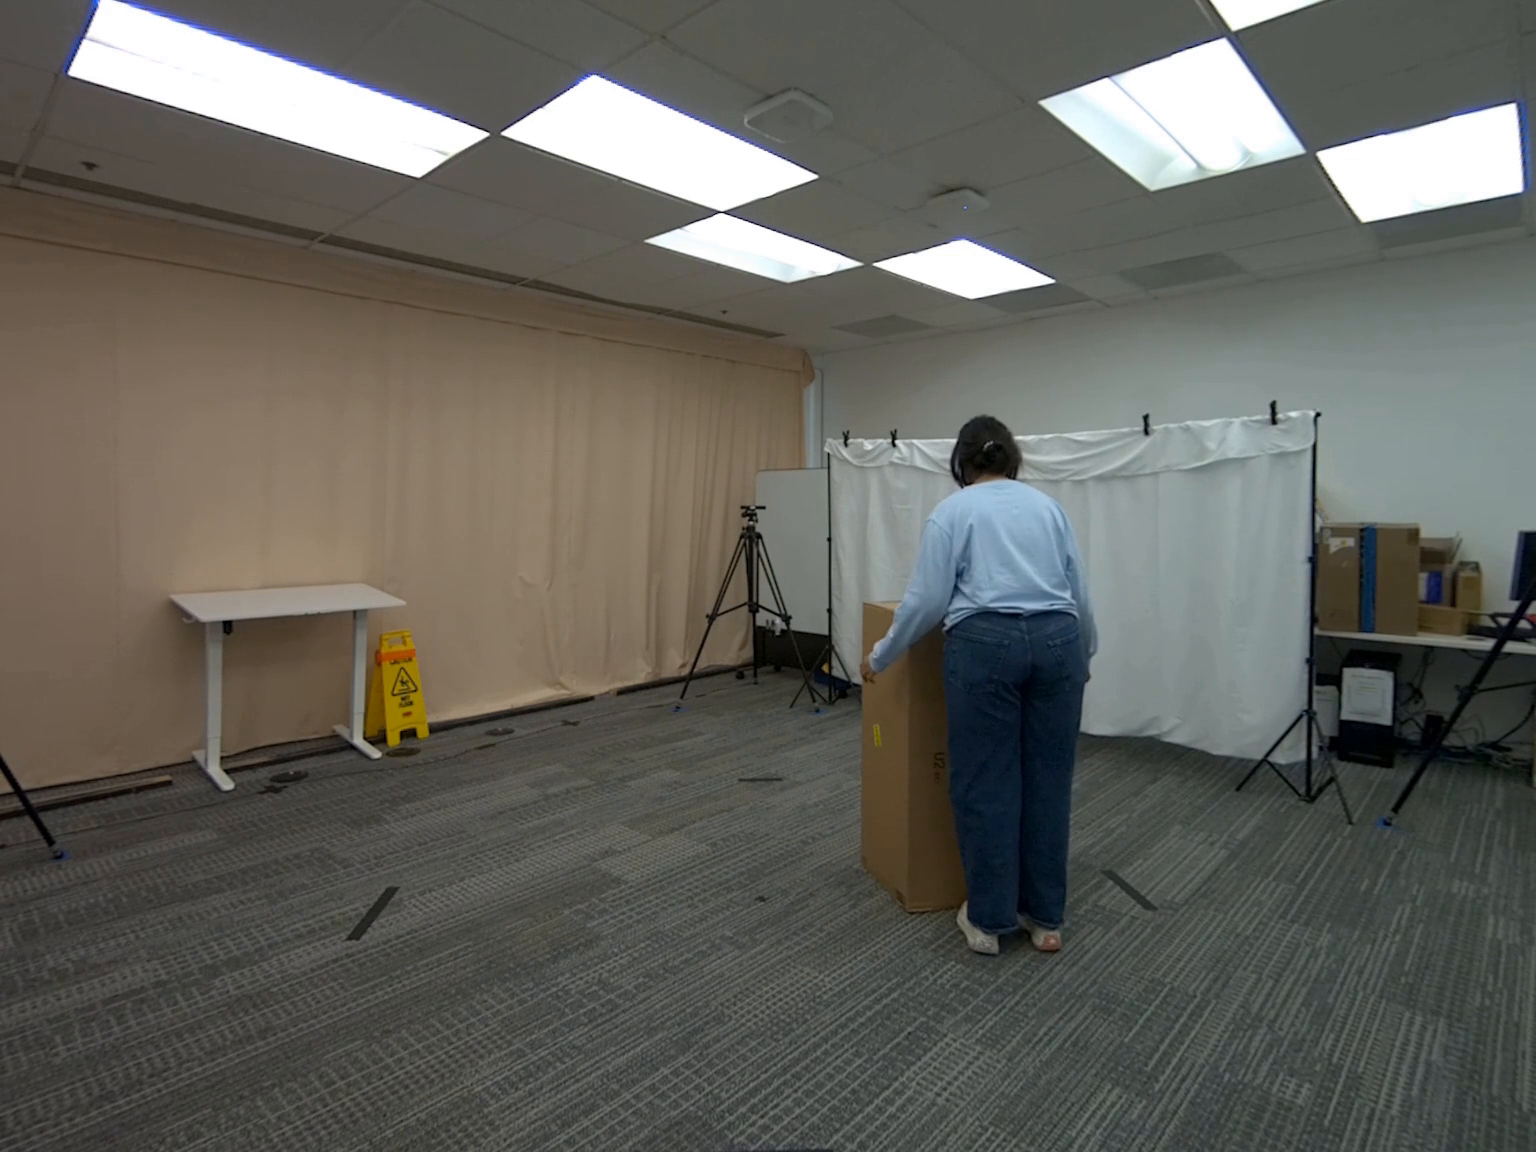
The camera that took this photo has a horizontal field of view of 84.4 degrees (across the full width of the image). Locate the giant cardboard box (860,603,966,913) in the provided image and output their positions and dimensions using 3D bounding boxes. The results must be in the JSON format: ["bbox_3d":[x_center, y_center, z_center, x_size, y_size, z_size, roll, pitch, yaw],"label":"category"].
[{"bbox_3d":[0.701,0.622,3.117,0.569,1.024,0.433,0,3,-14],"label":"giant cardboard box"}]
